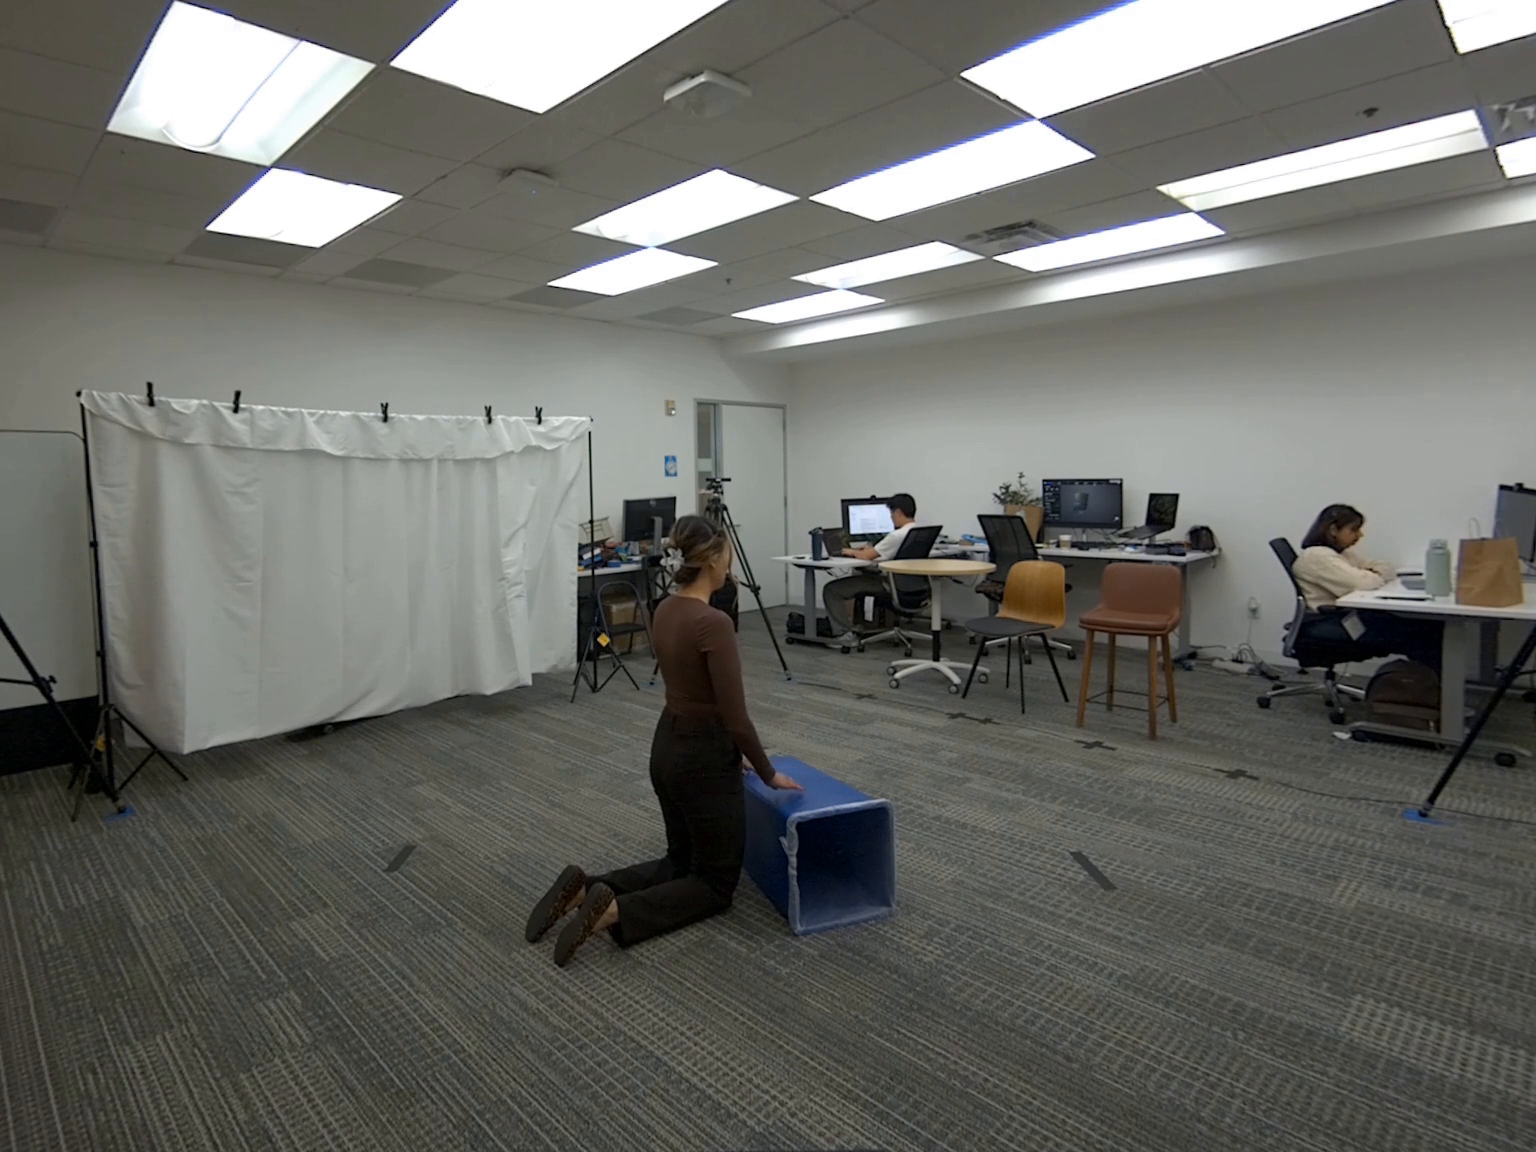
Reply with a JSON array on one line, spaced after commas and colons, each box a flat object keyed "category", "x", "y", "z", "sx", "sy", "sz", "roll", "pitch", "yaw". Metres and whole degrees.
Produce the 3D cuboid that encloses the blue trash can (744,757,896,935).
[{"category": "blue trash can", "x": 0.104, "y": 0.878, "z": 2.990, "sx": 0.367, "sy": 0.377, "sz": 0.729, "roll": -4, "pitch": 5, "yaw": -21}]
